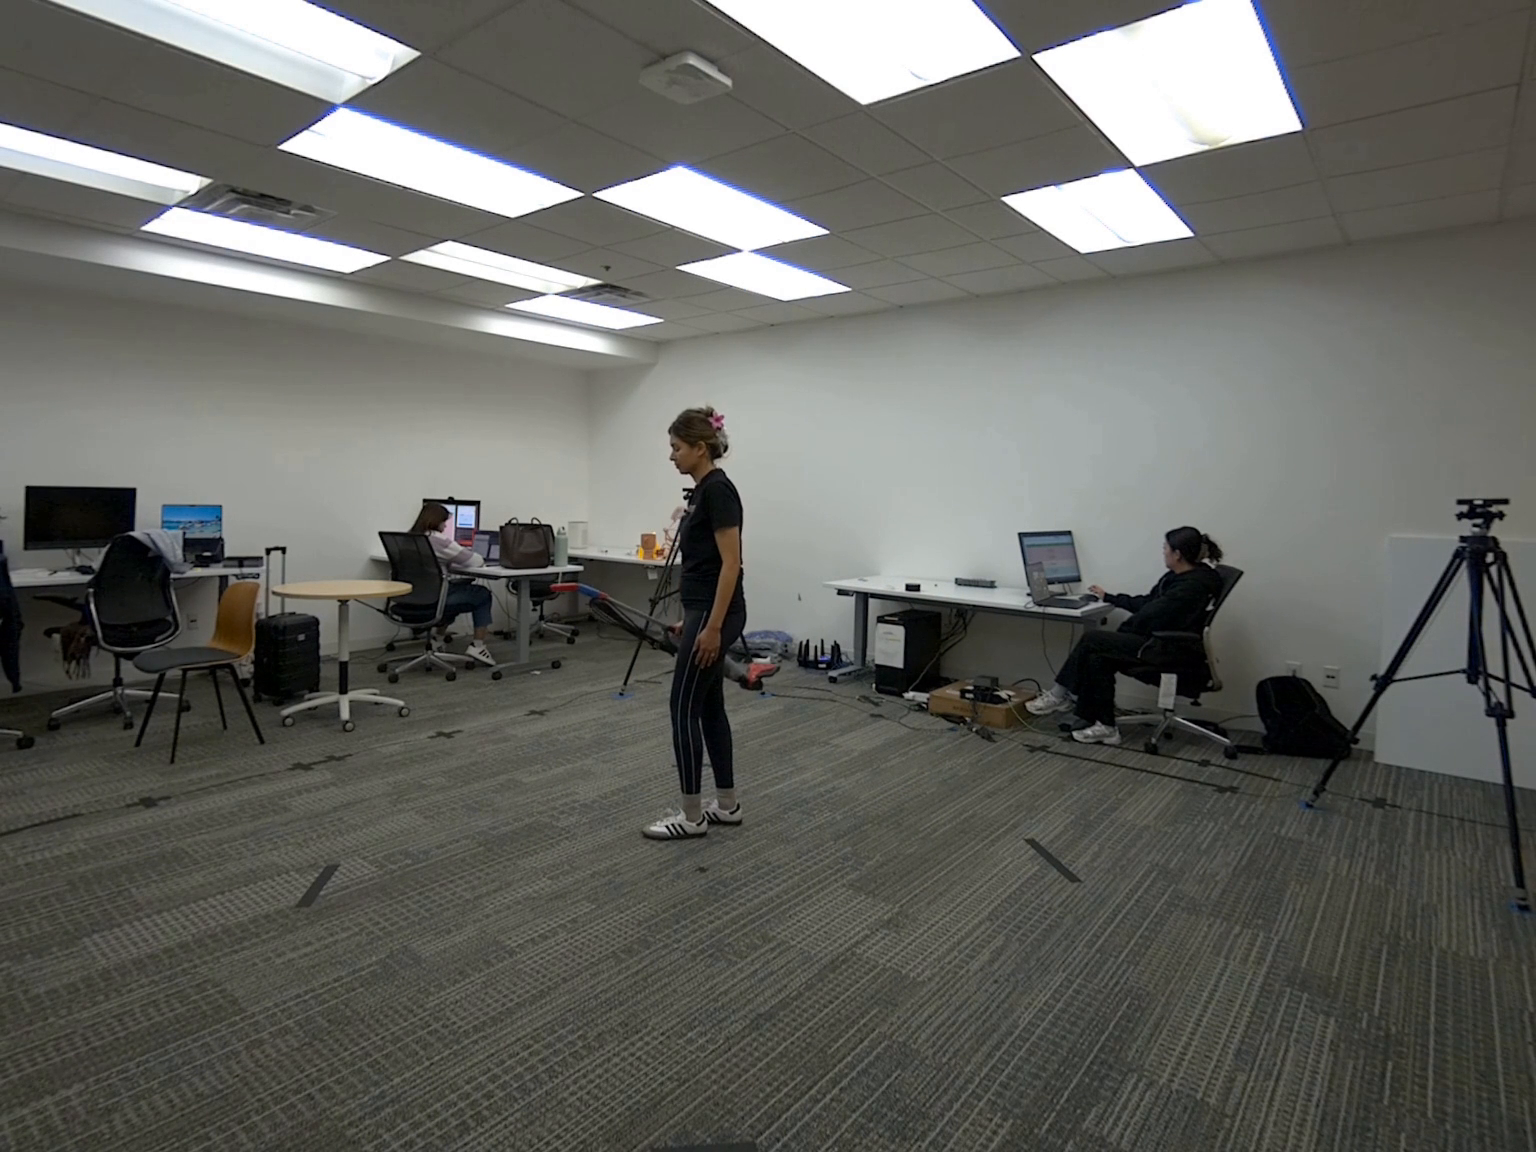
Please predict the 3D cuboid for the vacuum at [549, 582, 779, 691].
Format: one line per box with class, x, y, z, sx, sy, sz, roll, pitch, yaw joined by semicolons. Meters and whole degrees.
vacuum;-0.470;0.269;3.702;1.020;0.145;0.258;27;-16;-22
